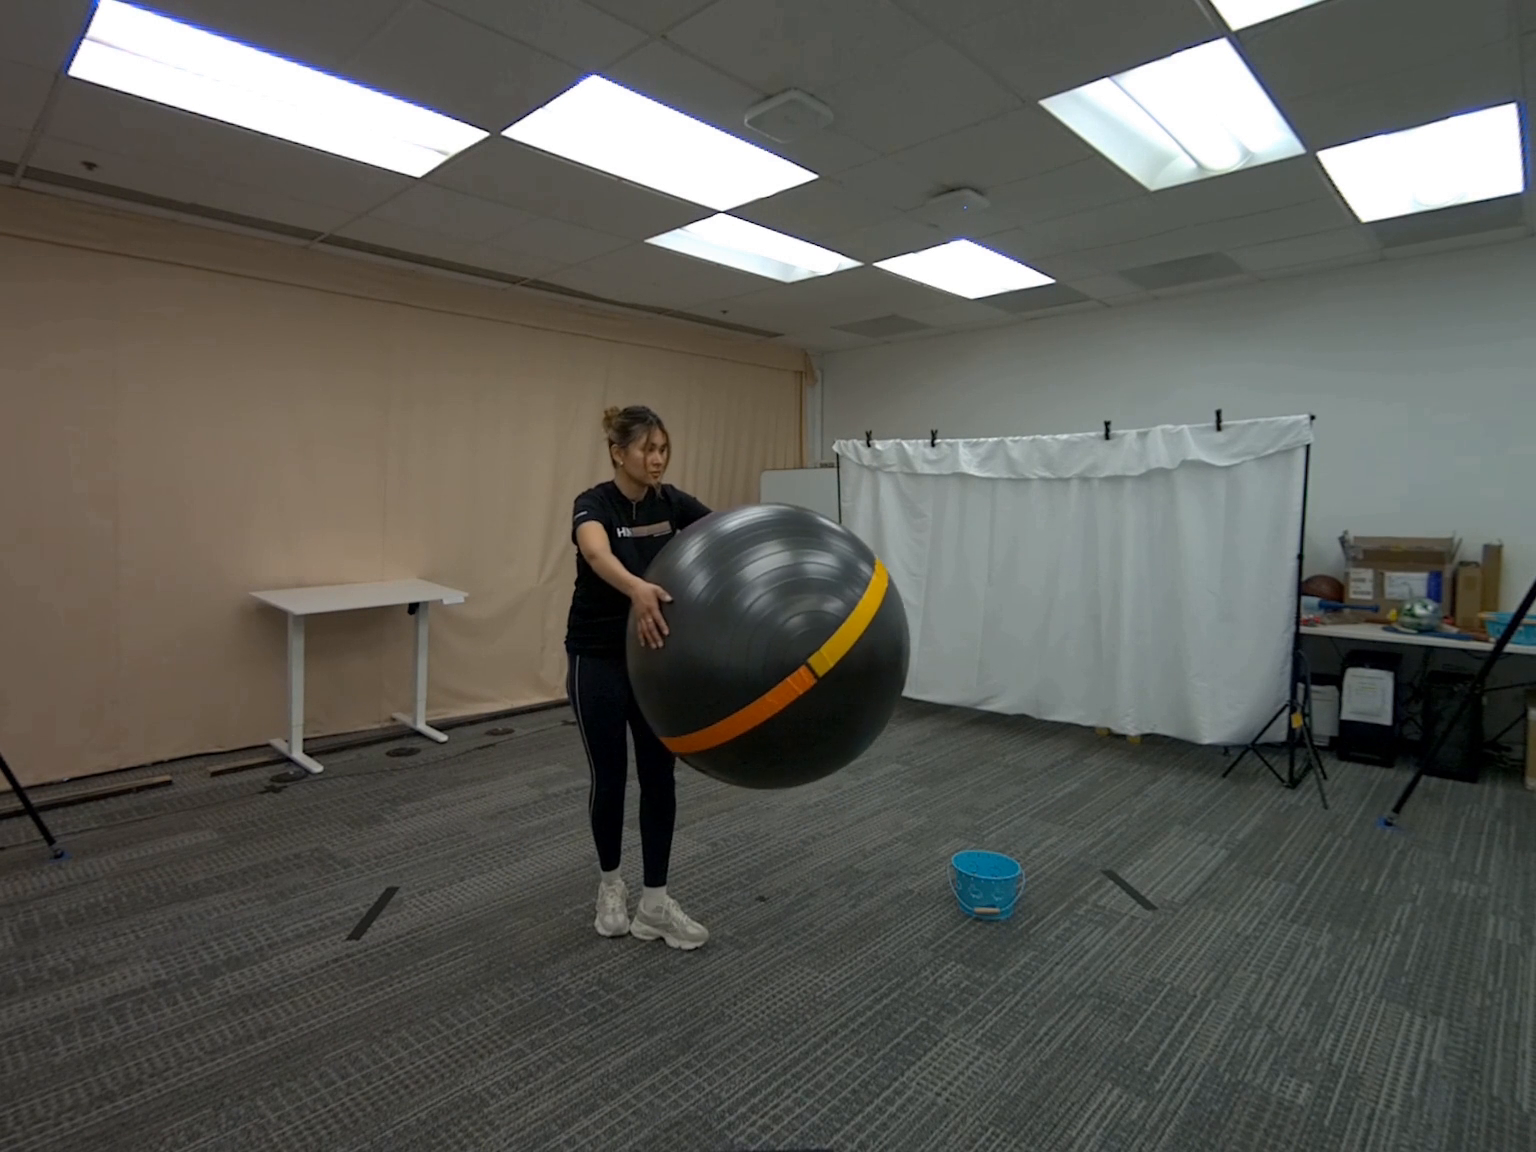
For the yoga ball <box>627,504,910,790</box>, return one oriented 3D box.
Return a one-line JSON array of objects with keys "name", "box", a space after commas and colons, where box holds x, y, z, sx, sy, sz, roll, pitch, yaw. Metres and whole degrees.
[{"name": "yoga ball", "box": [0.000, 0.197, 2.255, 0.757, 0.756, 0.761, 0, 4, -2]}]
